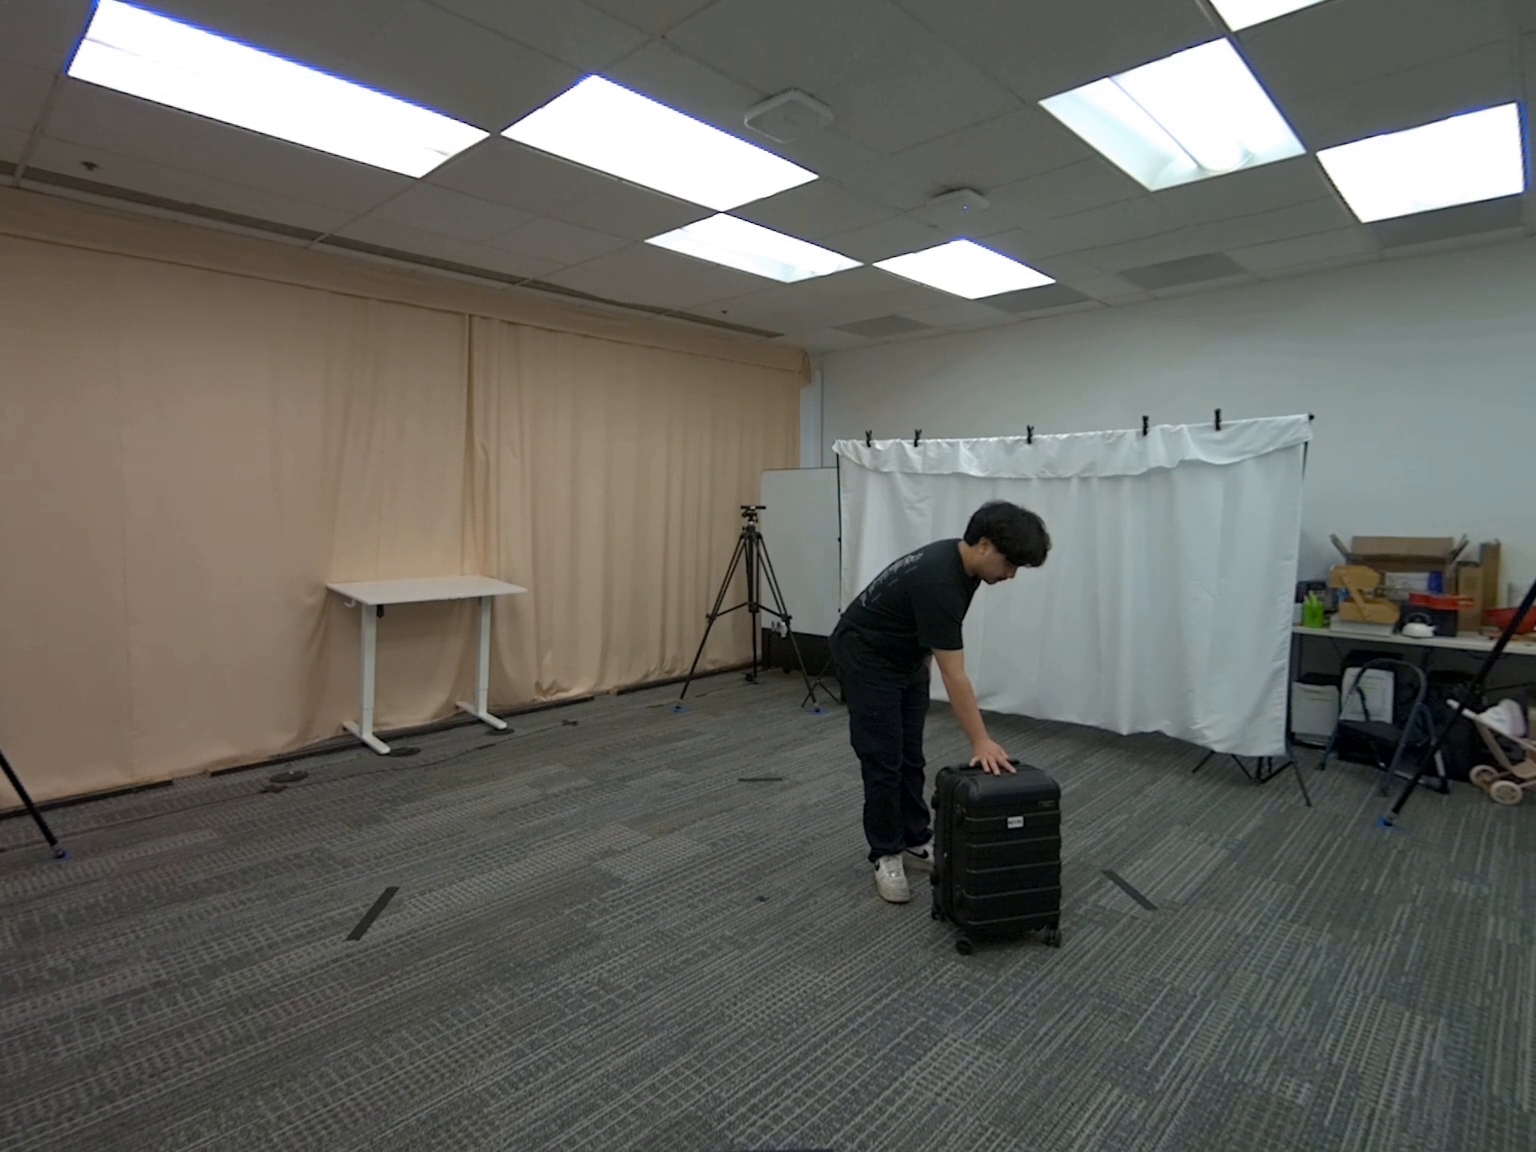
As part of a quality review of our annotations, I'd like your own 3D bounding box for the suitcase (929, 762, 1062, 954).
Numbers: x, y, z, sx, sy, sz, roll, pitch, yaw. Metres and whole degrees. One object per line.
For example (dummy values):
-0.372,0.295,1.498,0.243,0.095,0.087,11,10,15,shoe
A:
0.754,0.885,2.737,0.370,0.548,0.253,-1,3,-15,suitcase
